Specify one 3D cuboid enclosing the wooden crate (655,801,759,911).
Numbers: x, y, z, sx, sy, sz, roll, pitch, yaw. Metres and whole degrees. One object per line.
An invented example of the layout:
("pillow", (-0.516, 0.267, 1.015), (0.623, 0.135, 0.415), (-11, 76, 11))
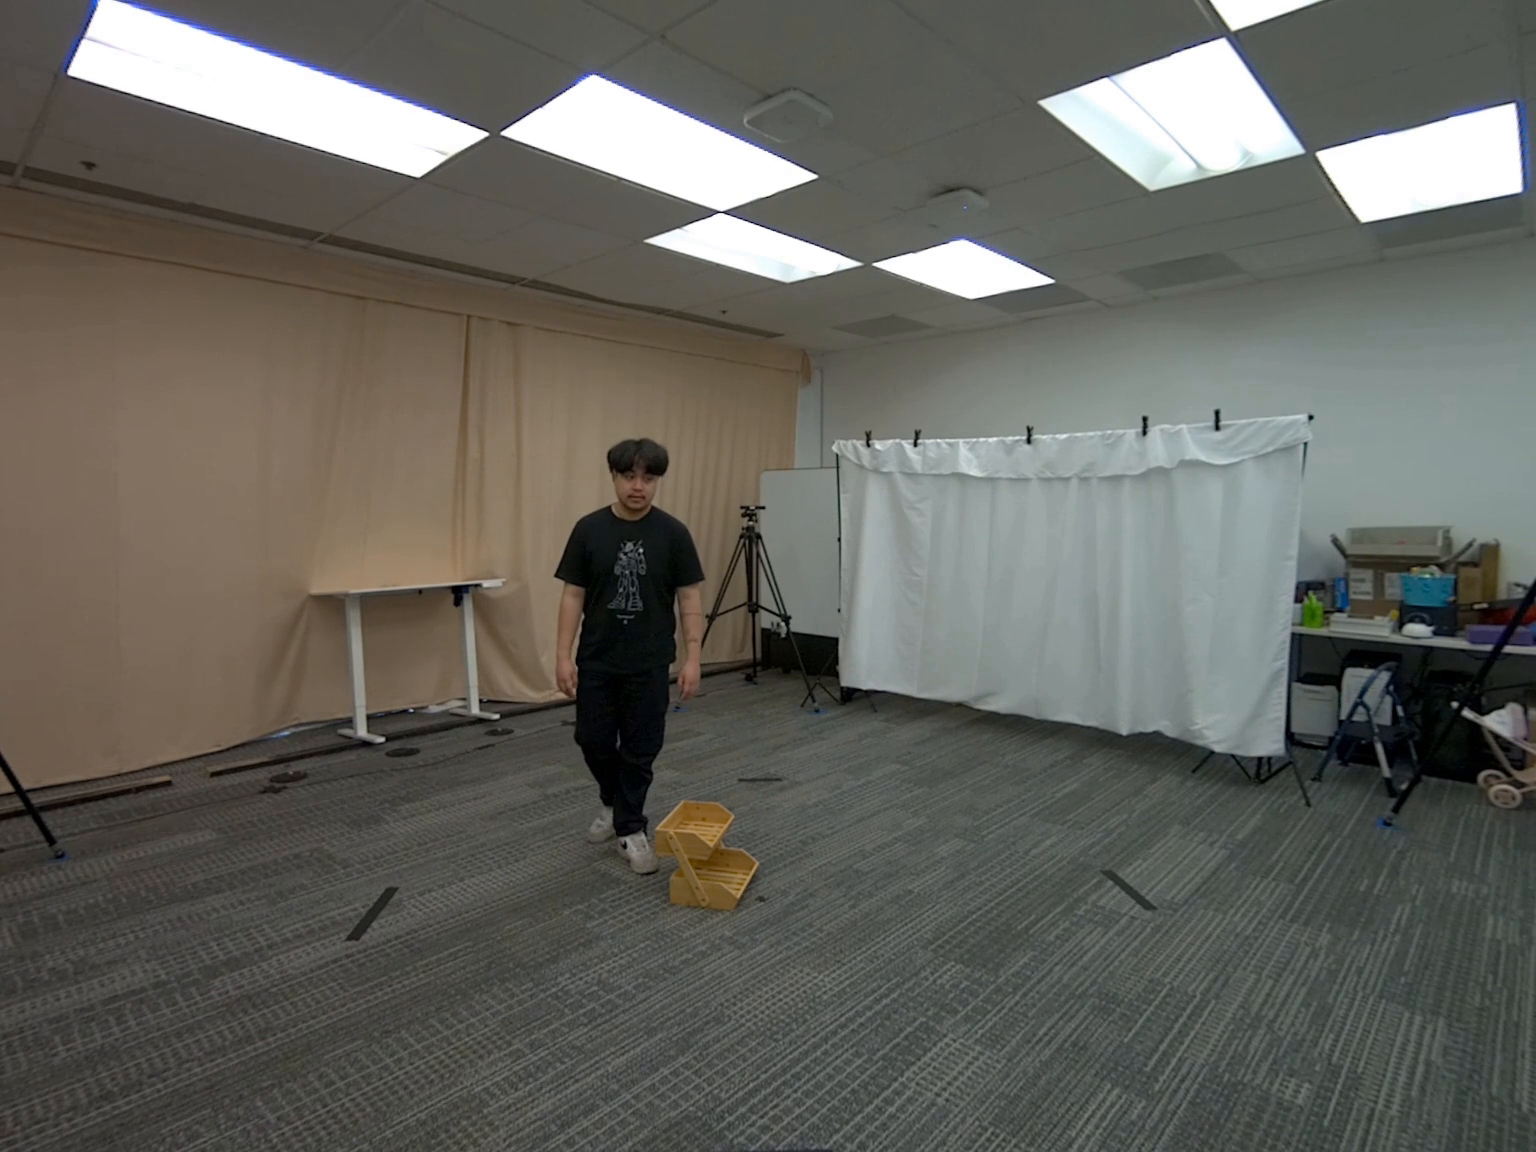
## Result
("wooden crate", (-0.210, 1.003, 3.065), (0.307, 0.273, 0.320), (0, 4, 14))
